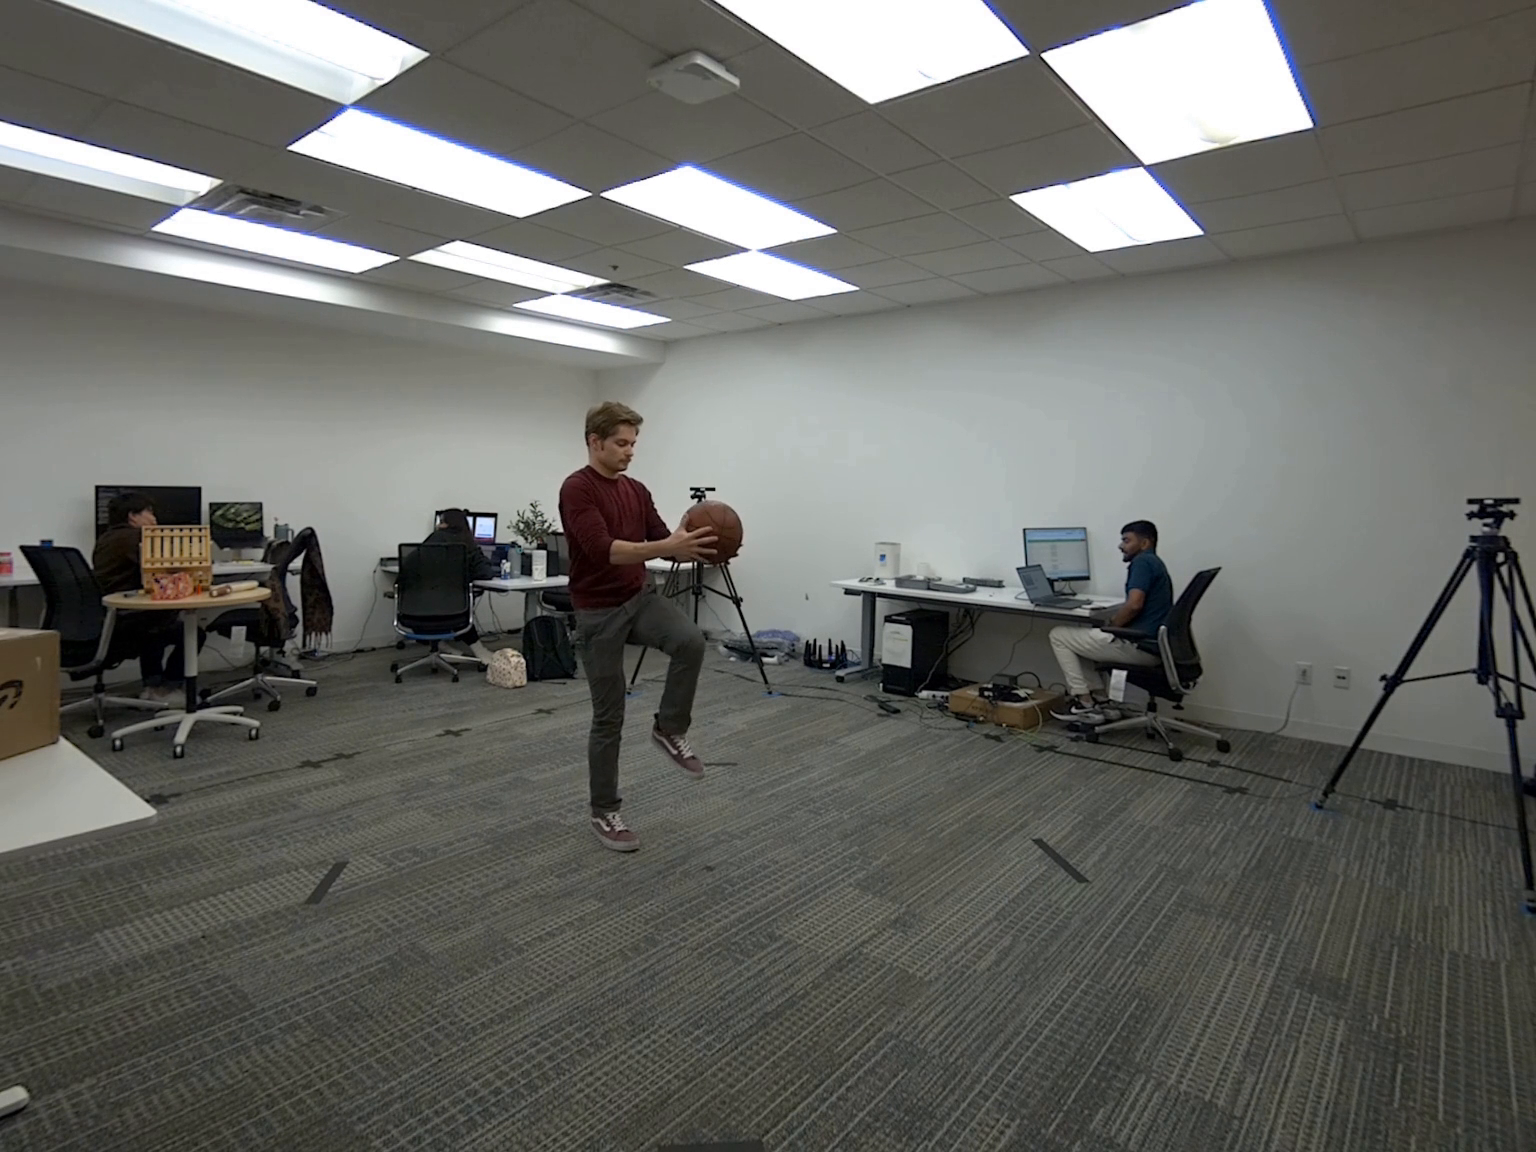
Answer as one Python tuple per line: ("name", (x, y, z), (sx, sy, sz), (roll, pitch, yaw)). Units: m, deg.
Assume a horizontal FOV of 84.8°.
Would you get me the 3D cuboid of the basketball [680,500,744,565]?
("basketball", (-0.222, -0.168, 3.118), (0.235, 0.235, 0.237), (1, 4, -2))
